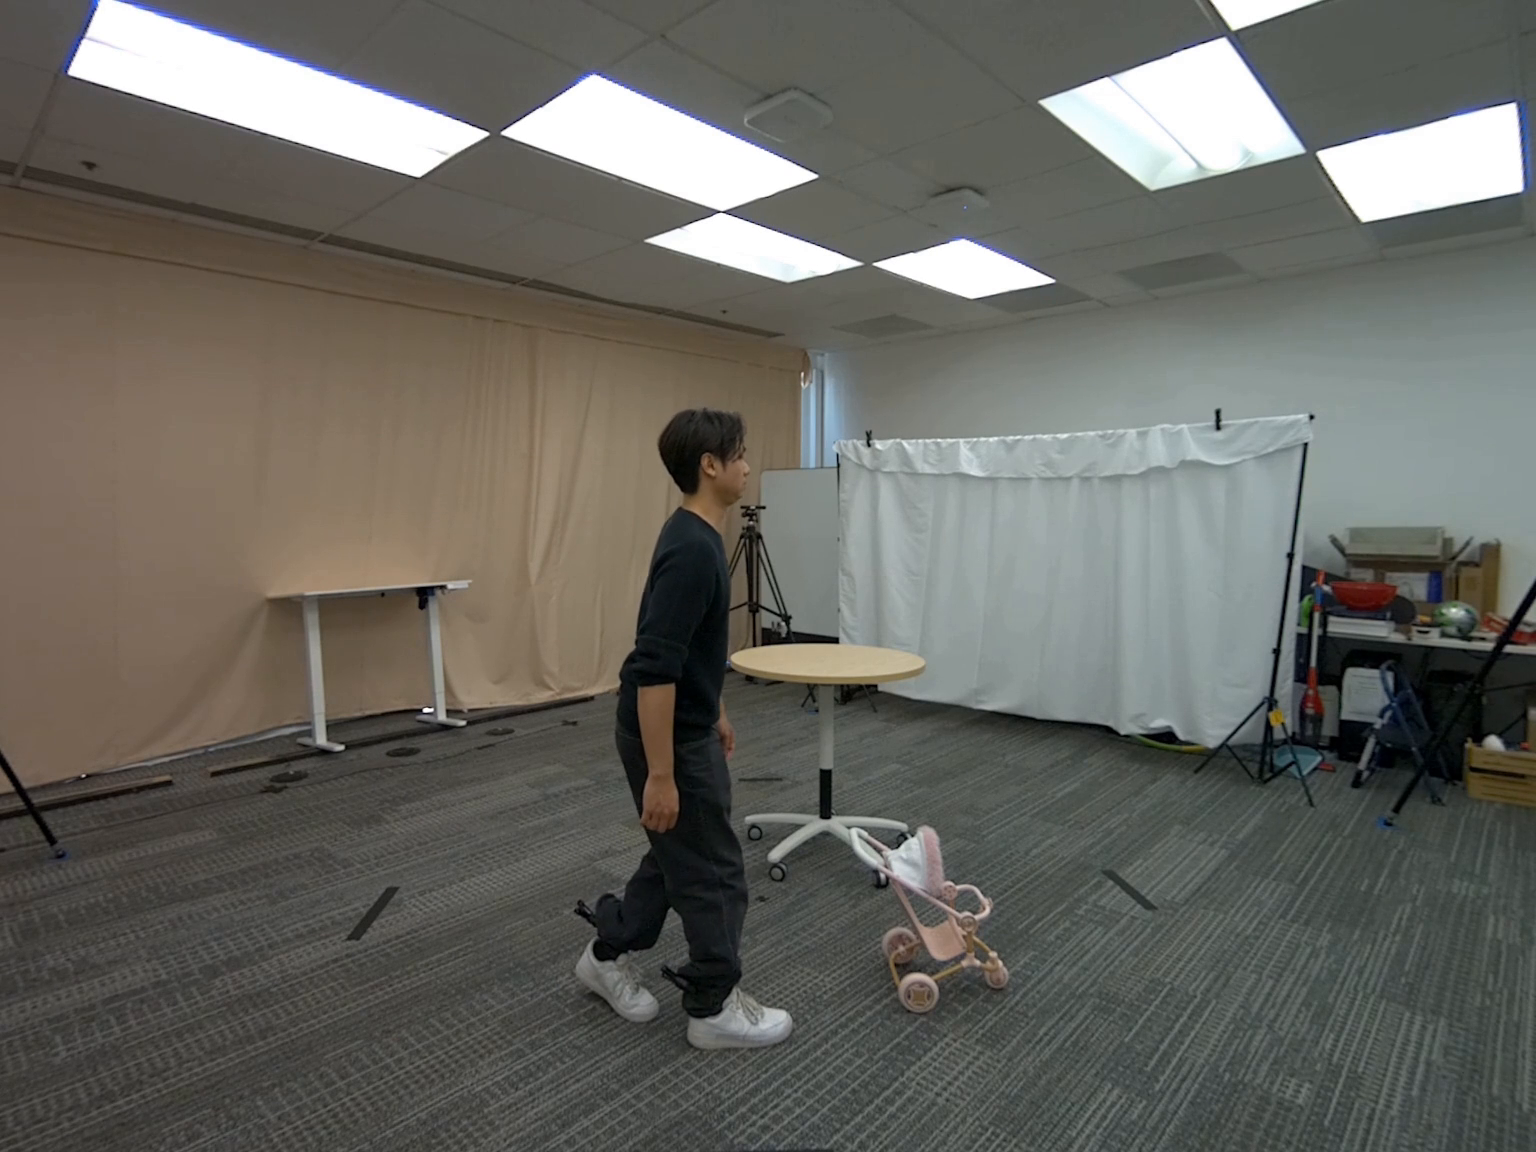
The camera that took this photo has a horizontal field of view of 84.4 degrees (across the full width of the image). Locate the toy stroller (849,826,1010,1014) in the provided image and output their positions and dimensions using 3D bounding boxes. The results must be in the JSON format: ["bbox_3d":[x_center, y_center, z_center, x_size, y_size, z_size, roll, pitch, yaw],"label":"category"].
[{"bbox_3d":[0.482,0.966,2.419,0.343,0.534,0.280,-15,2,5],"label":"toy stroller"}]
